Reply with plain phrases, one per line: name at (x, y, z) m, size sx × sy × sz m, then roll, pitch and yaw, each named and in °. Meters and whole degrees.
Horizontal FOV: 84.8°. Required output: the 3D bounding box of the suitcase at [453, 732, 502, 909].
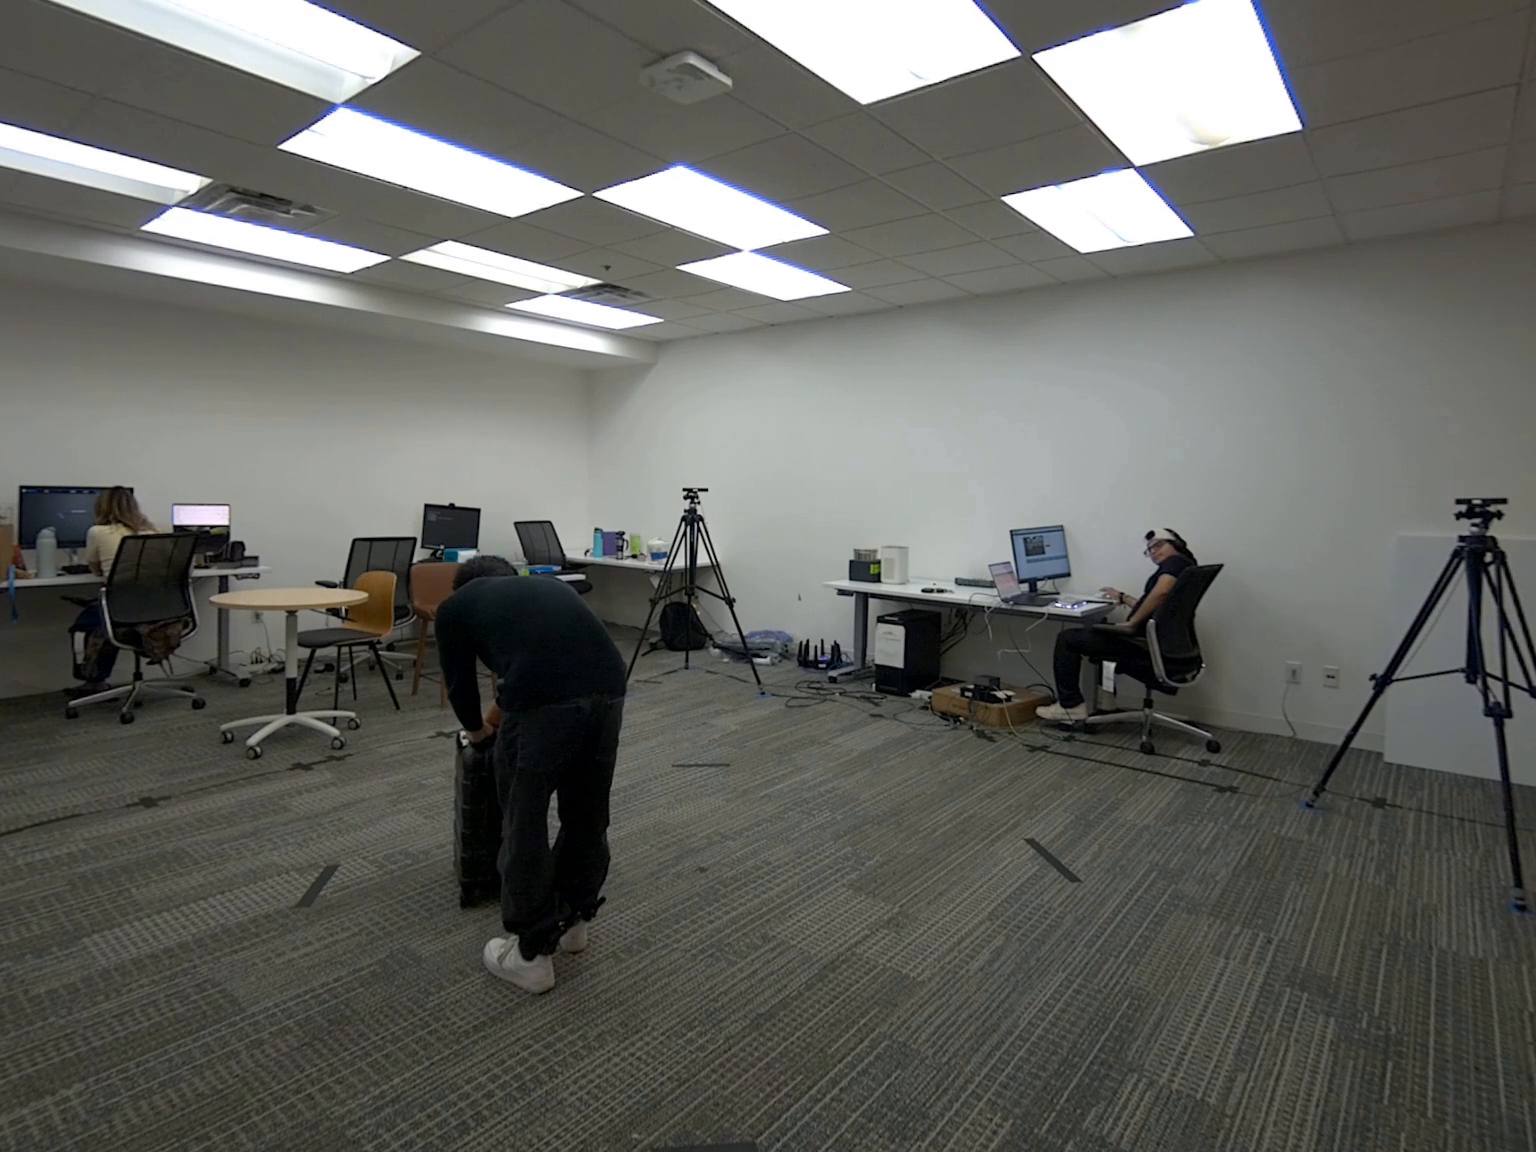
suitcase at (-0.961, 0.797, 2.952) m, size 0.243 × 0.547 × 0.385 m, roll 0°, pitch 6°, yaw -22°
